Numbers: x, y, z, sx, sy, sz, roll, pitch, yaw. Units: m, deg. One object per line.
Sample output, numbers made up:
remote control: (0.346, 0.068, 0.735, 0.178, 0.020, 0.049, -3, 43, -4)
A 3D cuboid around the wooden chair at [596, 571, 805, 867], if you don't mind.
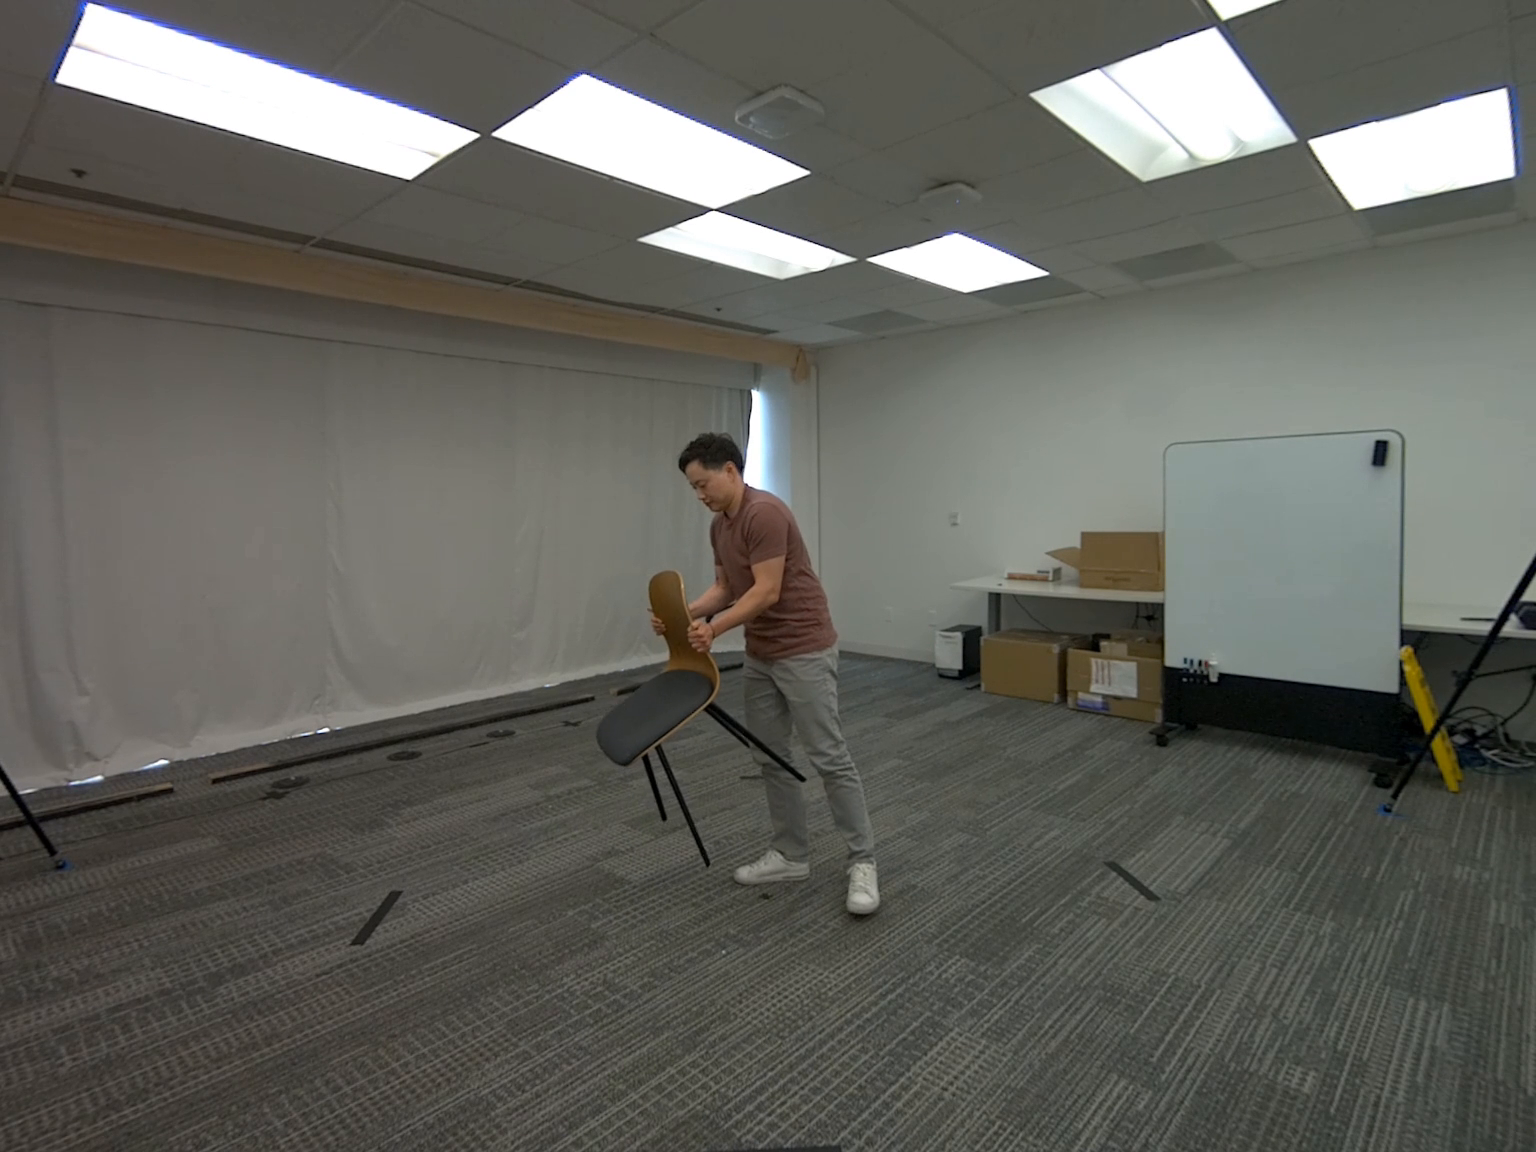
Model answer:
wooden chair: (-0.349, 0.491, 2.978, 0.517, 0.864, 0.491, -31, 16, -20)
